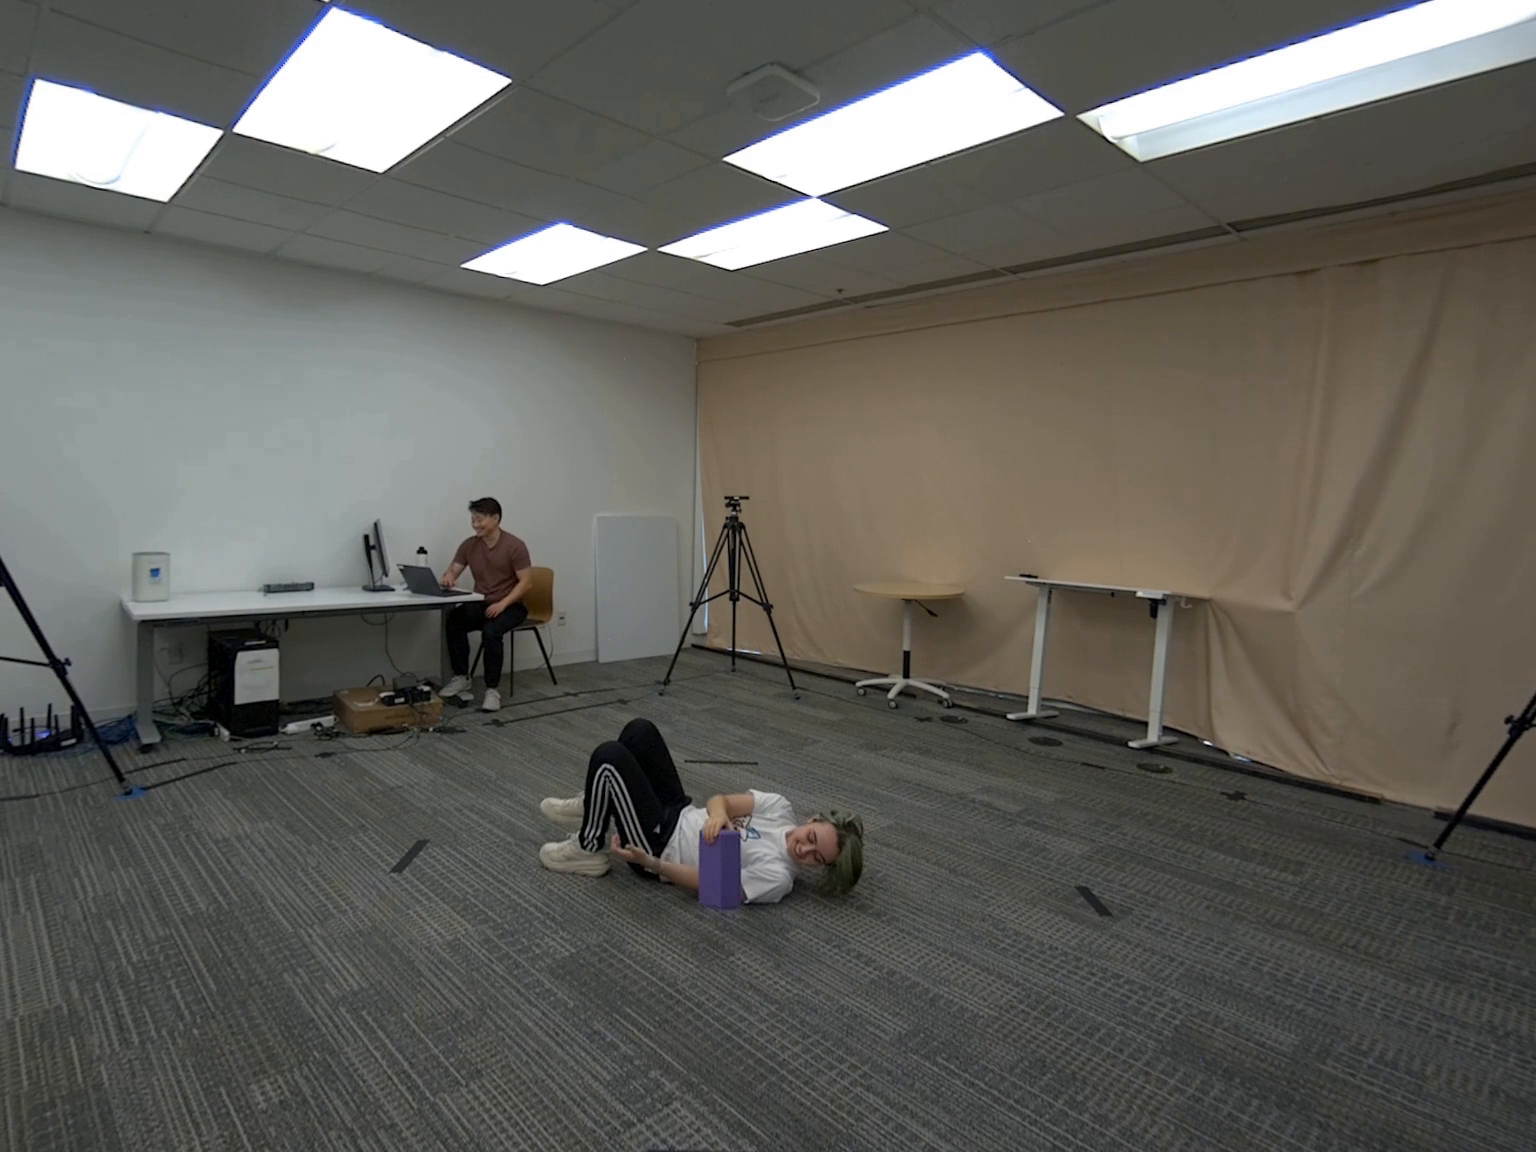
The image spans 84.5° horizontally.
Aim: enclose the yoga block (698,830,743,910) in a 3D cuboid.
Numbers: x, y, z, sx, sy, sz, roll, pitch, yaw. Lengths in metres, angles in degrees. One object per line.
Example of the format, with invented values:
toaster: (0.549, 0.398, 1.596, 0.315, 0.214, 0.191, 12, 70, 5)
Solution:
yoga block: (-0.163, 0.922, 2.681, 0.074, 0.231, 0.151, 9, -16, -34)
